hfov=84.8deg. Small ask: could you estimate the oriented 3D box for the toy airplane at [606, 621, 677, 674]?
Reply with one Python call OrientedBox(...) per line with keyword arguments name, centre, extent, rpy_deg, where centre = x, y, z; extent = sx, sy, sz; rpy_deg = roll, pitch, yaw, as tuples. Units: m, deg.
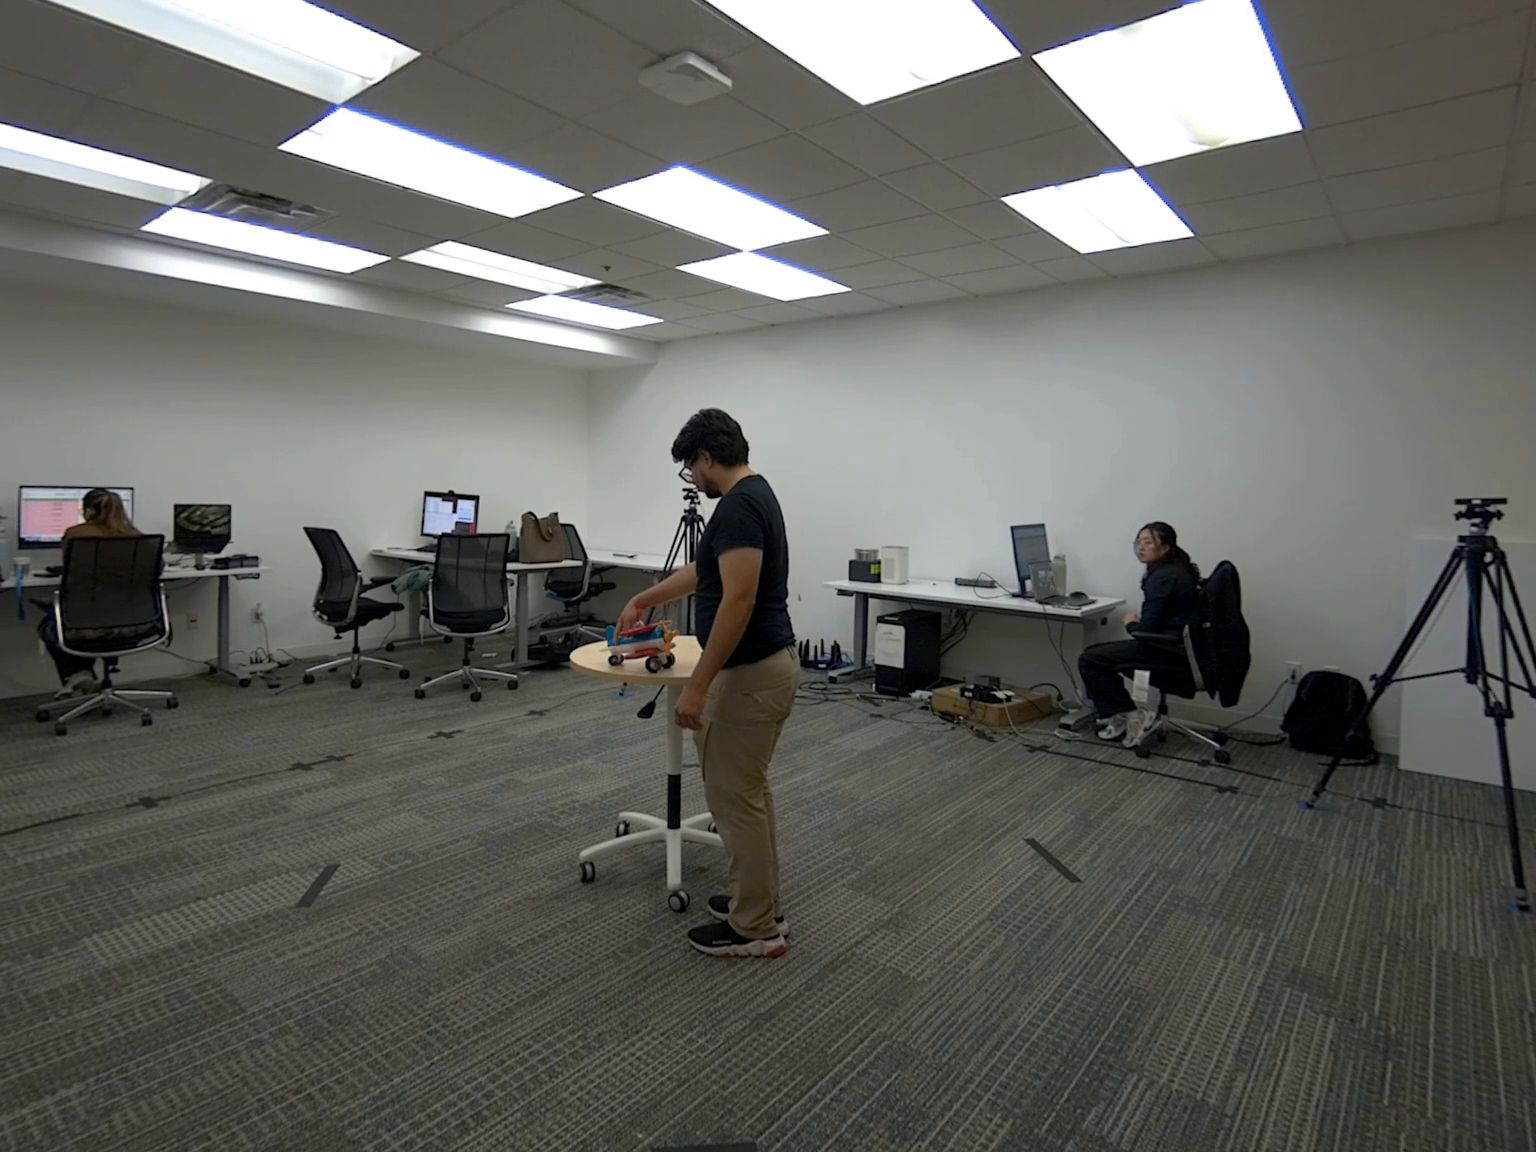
OrientedBox(name="toy airplane", centre=(-0.451, 0.232, 2.847), extent=(0.259, 0.156, 0.252), rpy_deg=(2, 4, -3))
